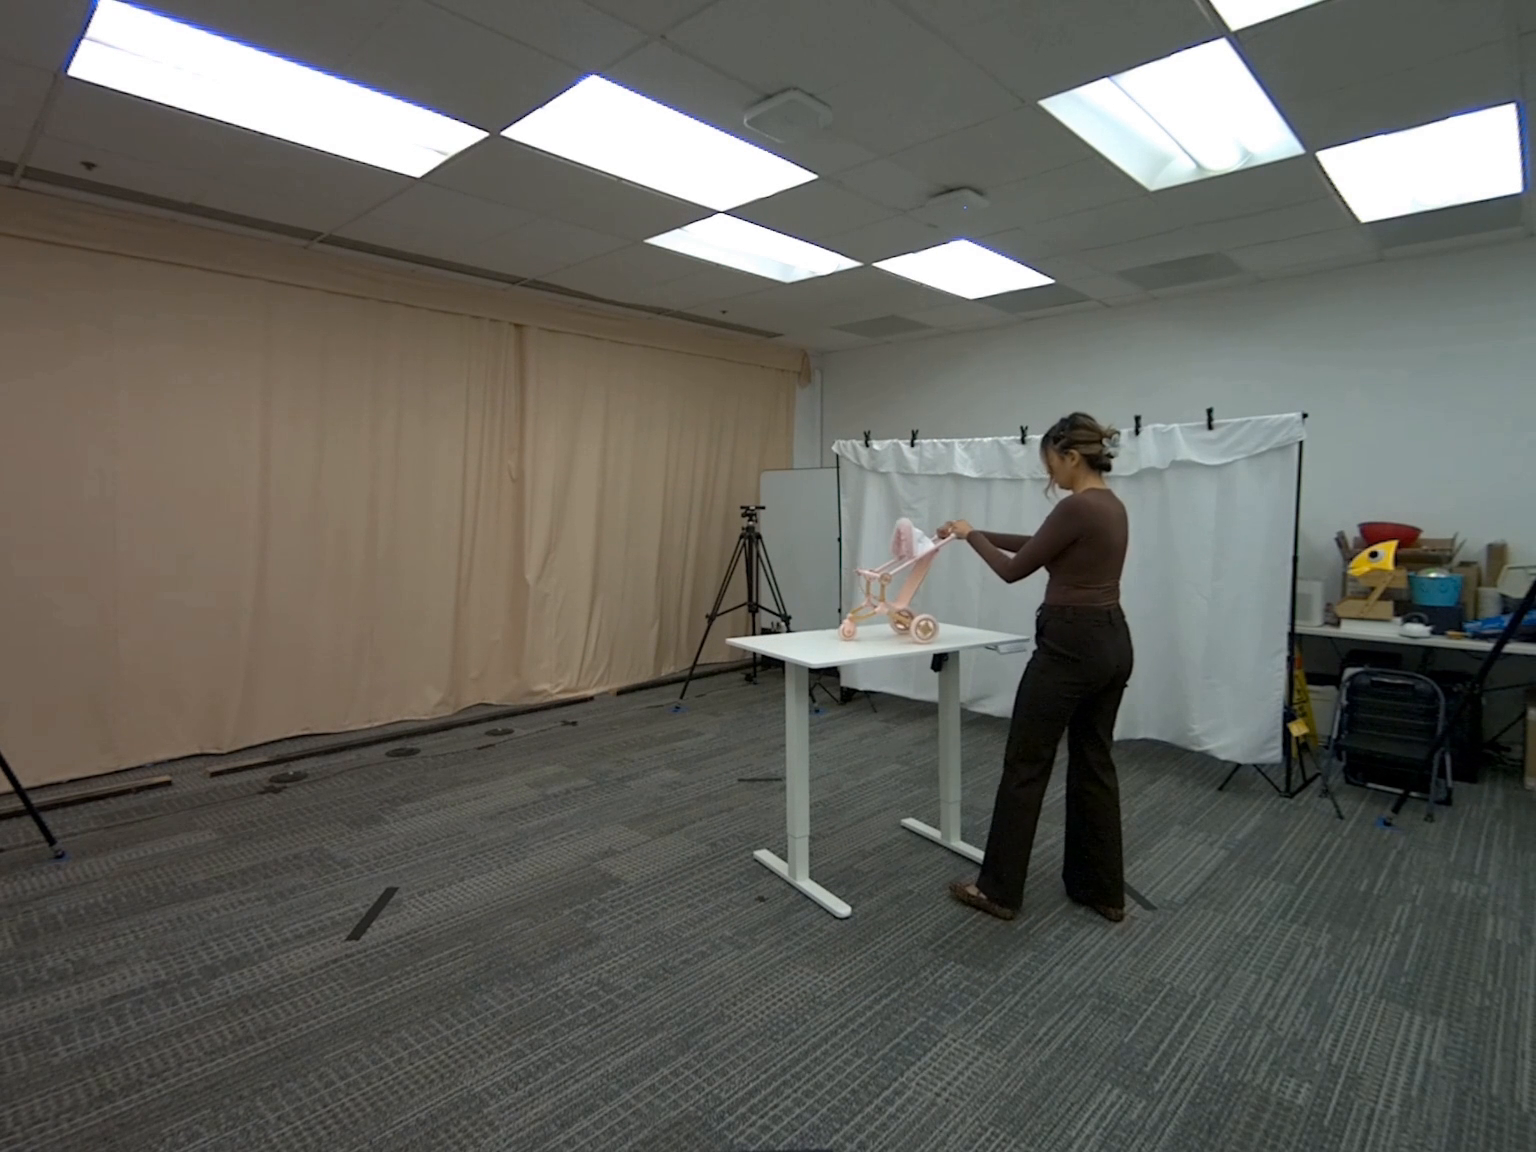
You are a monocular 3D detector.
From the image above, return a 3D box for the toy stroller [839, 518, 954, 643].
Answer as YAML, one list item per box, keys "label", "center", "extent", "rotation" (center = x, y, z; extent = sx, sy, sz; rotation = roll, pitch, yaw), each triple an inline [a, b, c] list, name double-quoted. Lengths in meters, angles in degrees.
- label: "toy stroller"
  center: [0.487, 0.022, 3.194]
  extent: [0.341, 0.534, 0.282]
  rotation: [15, 2, -2]
